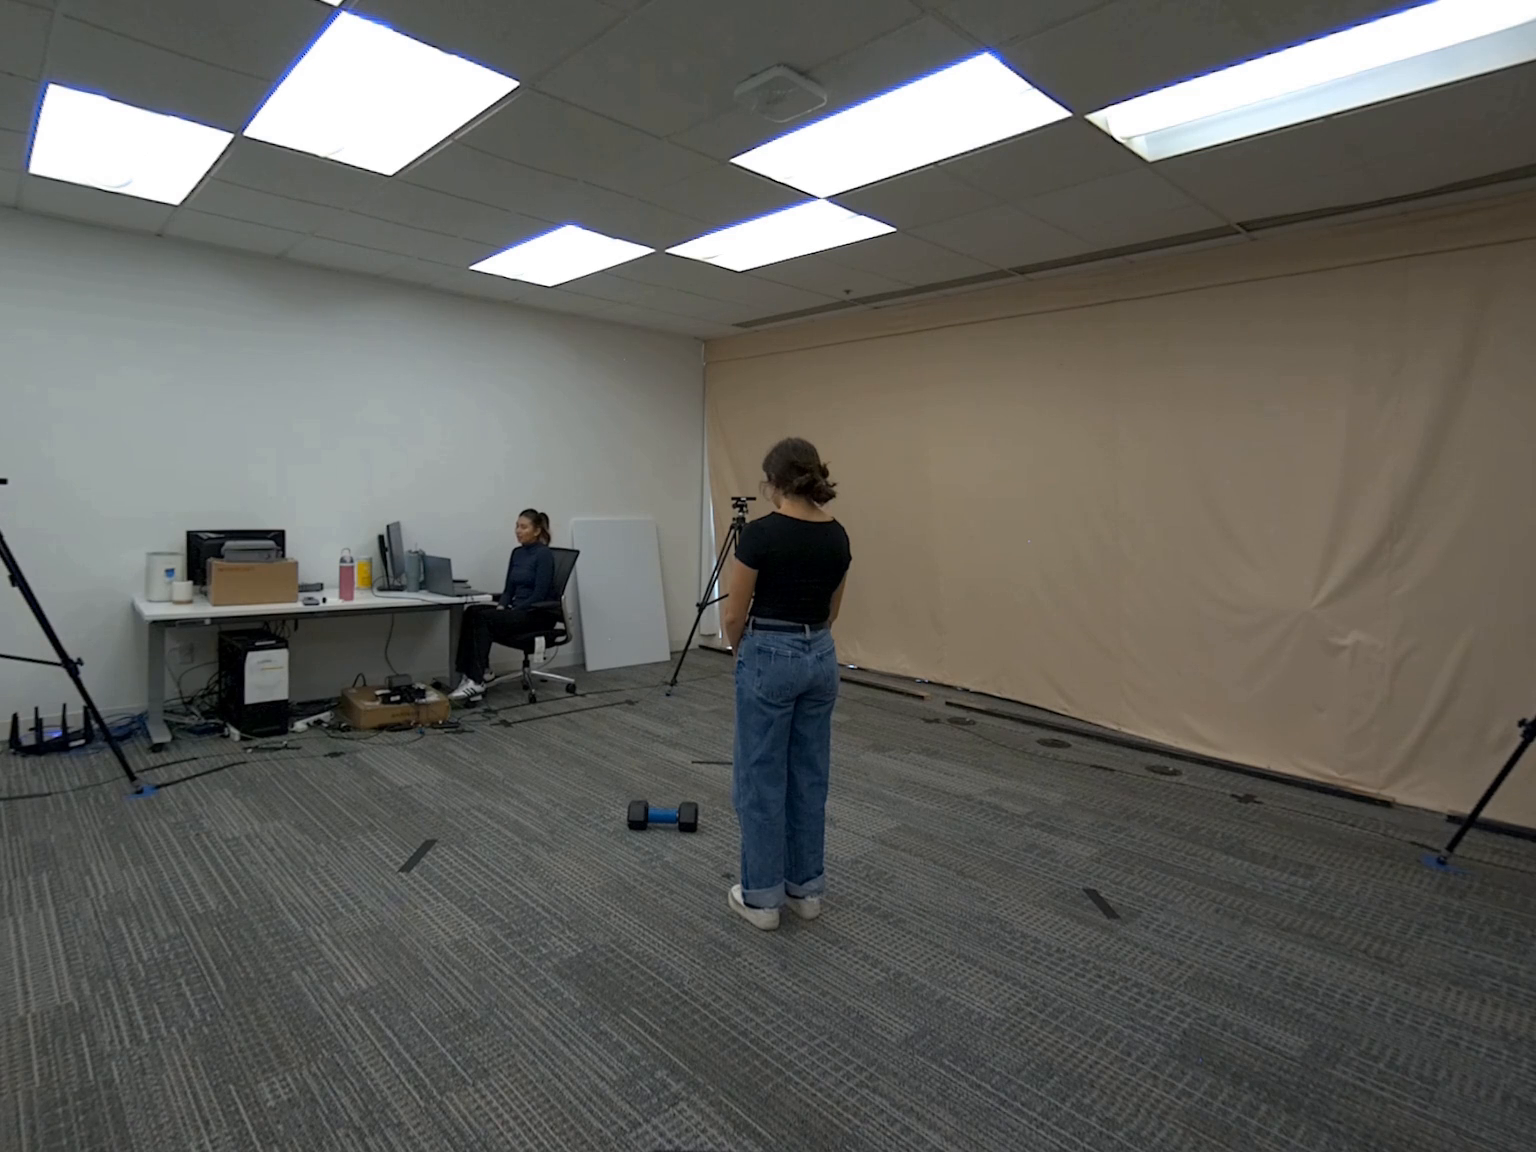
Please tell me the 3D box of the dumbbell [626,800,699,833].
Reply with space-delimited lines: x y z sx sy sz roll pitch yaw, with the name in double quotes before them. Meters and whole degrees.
"dumbbell" -0.449 1.009 3.536 0.294 0.120 0.111 2 35 1
